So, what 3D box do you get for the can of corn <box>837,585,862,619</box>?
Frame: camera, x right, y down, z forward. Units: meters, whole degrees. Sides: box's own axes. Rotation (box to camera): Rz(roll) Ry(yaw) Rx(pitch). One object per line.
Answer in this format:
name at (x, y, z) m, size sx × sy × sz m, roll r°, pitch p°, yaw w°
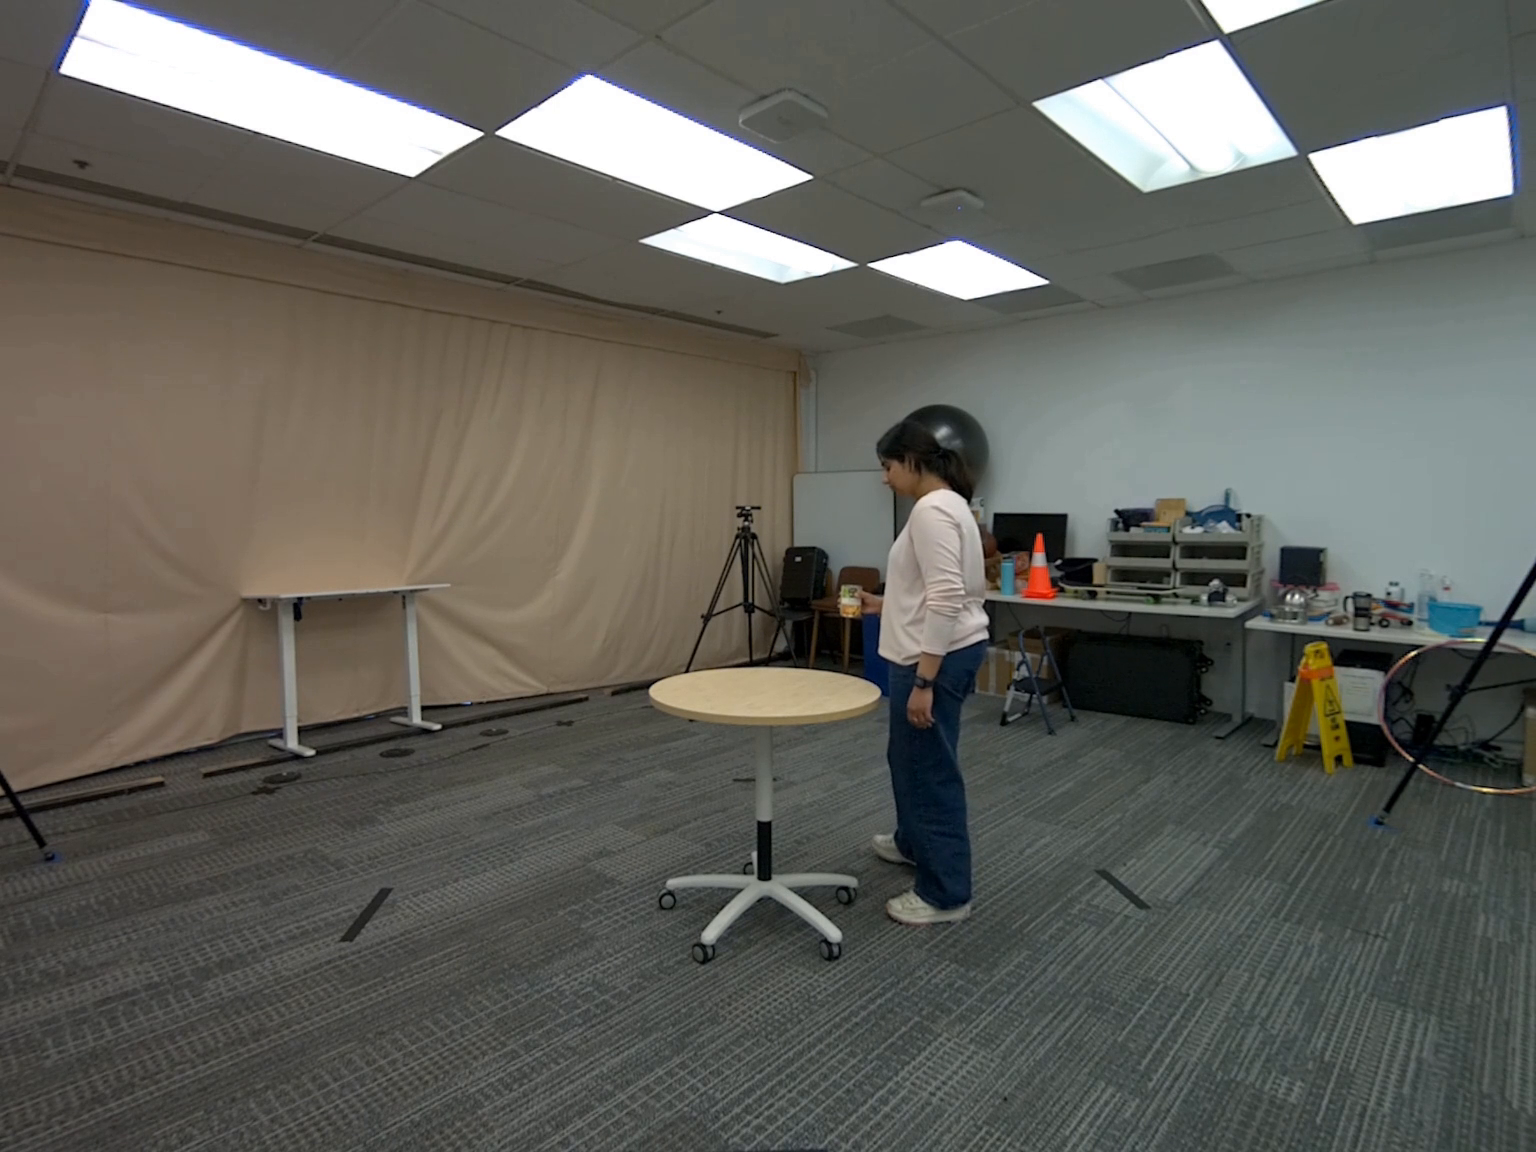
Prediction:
can of corn at (0.304, 0.095, 3.056) m, size 0.074 × 0.111 × 0.074 m, roll 4°, pitch -2°, yaw -2°
